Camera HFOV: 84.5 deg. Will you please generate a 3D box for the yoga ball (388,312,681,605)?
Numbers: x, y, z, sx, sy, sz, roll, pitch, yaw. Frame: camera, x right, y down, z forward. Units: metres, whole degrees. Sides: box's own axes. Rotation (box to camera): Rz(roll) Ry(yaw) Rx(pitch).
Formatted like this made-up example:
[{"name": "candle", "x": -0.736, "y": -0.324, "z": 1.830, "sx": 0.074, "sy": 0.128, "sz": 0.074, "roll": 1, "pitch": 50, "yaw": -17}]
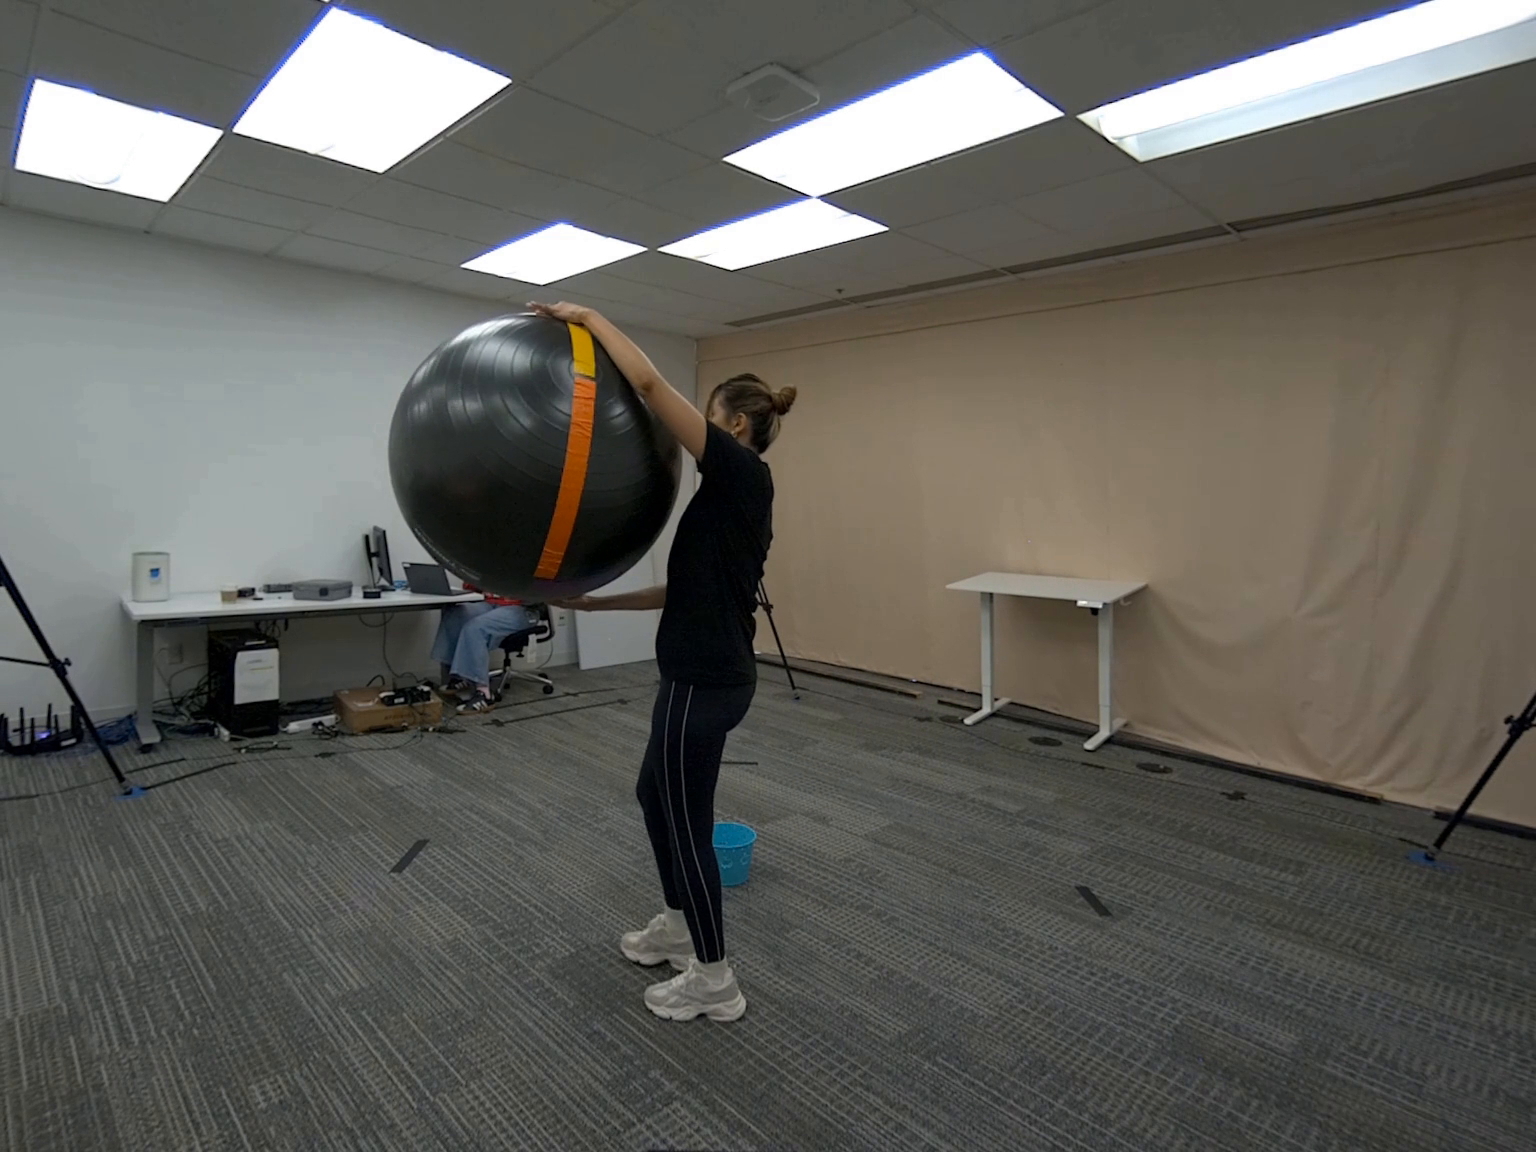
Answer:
[{"name": "yoga ball", "x": -0.612, "y": -0.302, "z": 2.240, "sx": 0.757, "sy": 0.756, "sz": 0.761, "roll": 1, "pitch": 4, "yaw": -1}]
